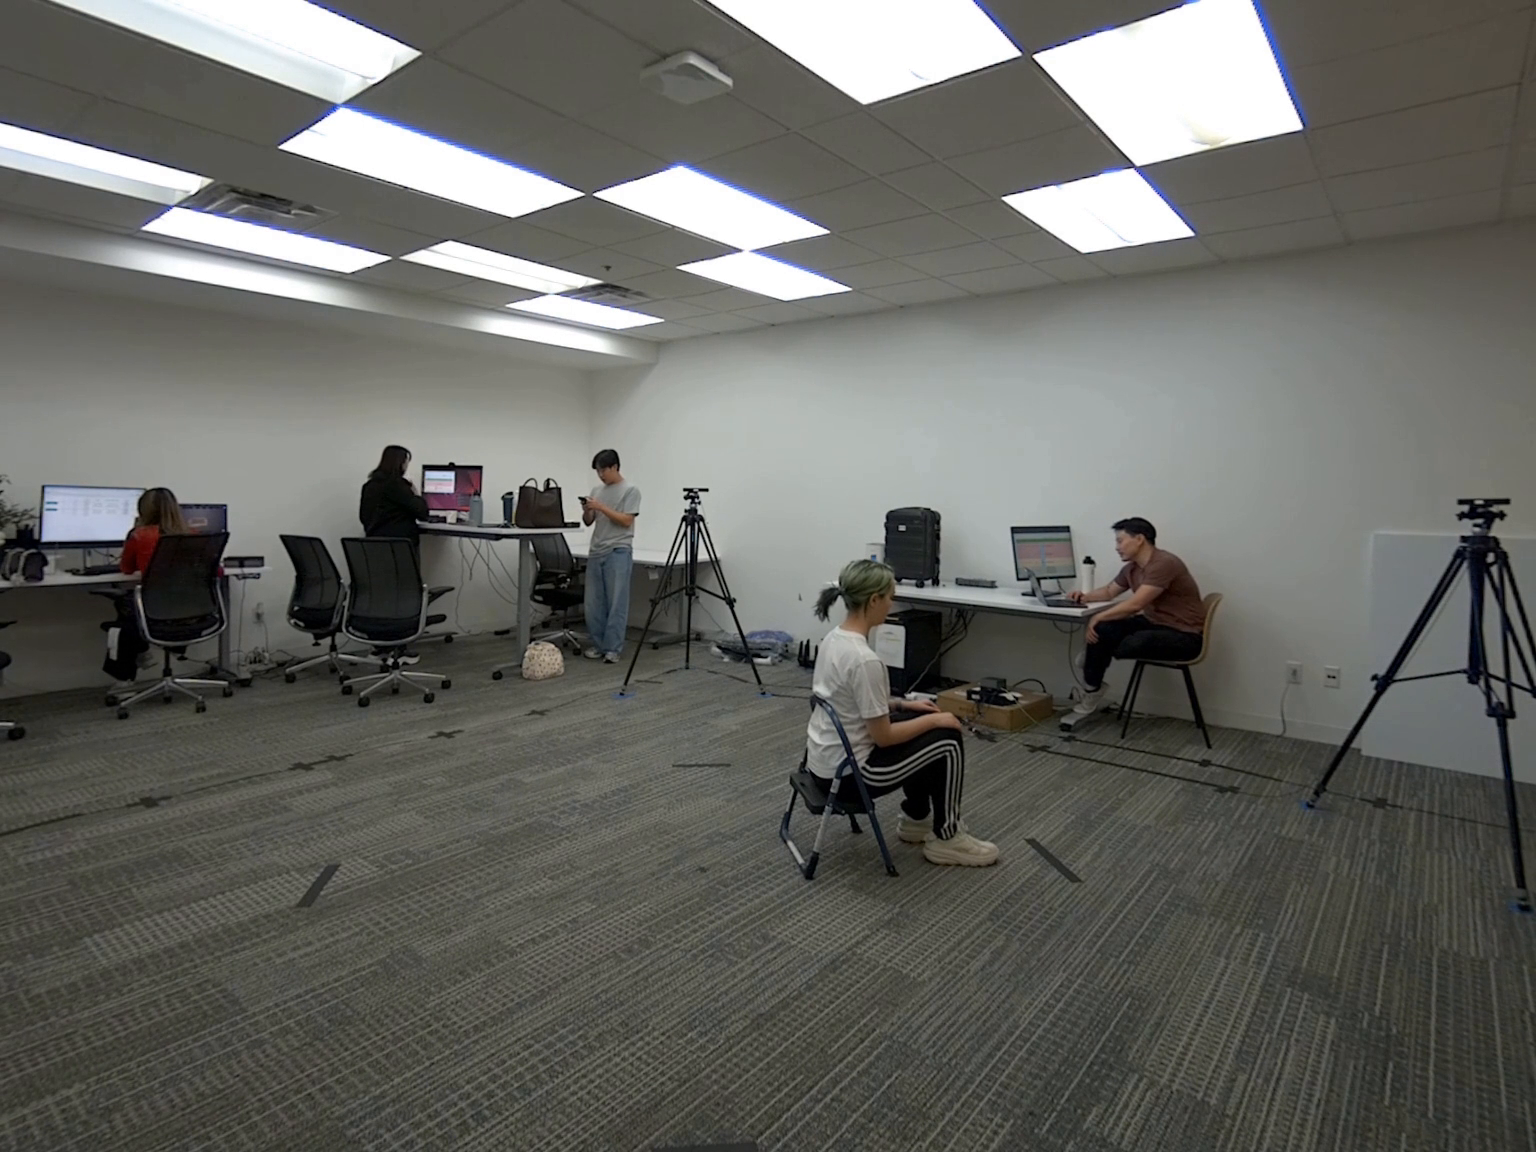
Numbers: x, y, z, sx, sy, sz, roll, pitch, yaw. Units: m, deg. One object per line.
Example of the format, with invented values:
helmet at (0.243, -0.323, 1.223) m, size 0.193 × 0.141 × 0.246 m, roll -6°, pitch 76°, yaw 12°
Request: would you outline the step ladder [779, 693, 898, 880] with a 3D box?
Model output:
step ladder at (0.257, 0.770, 3.259) m, size 0.345 × 0.604 × 0.437 m, roll 2°, pitch 3°, yaw -13°
